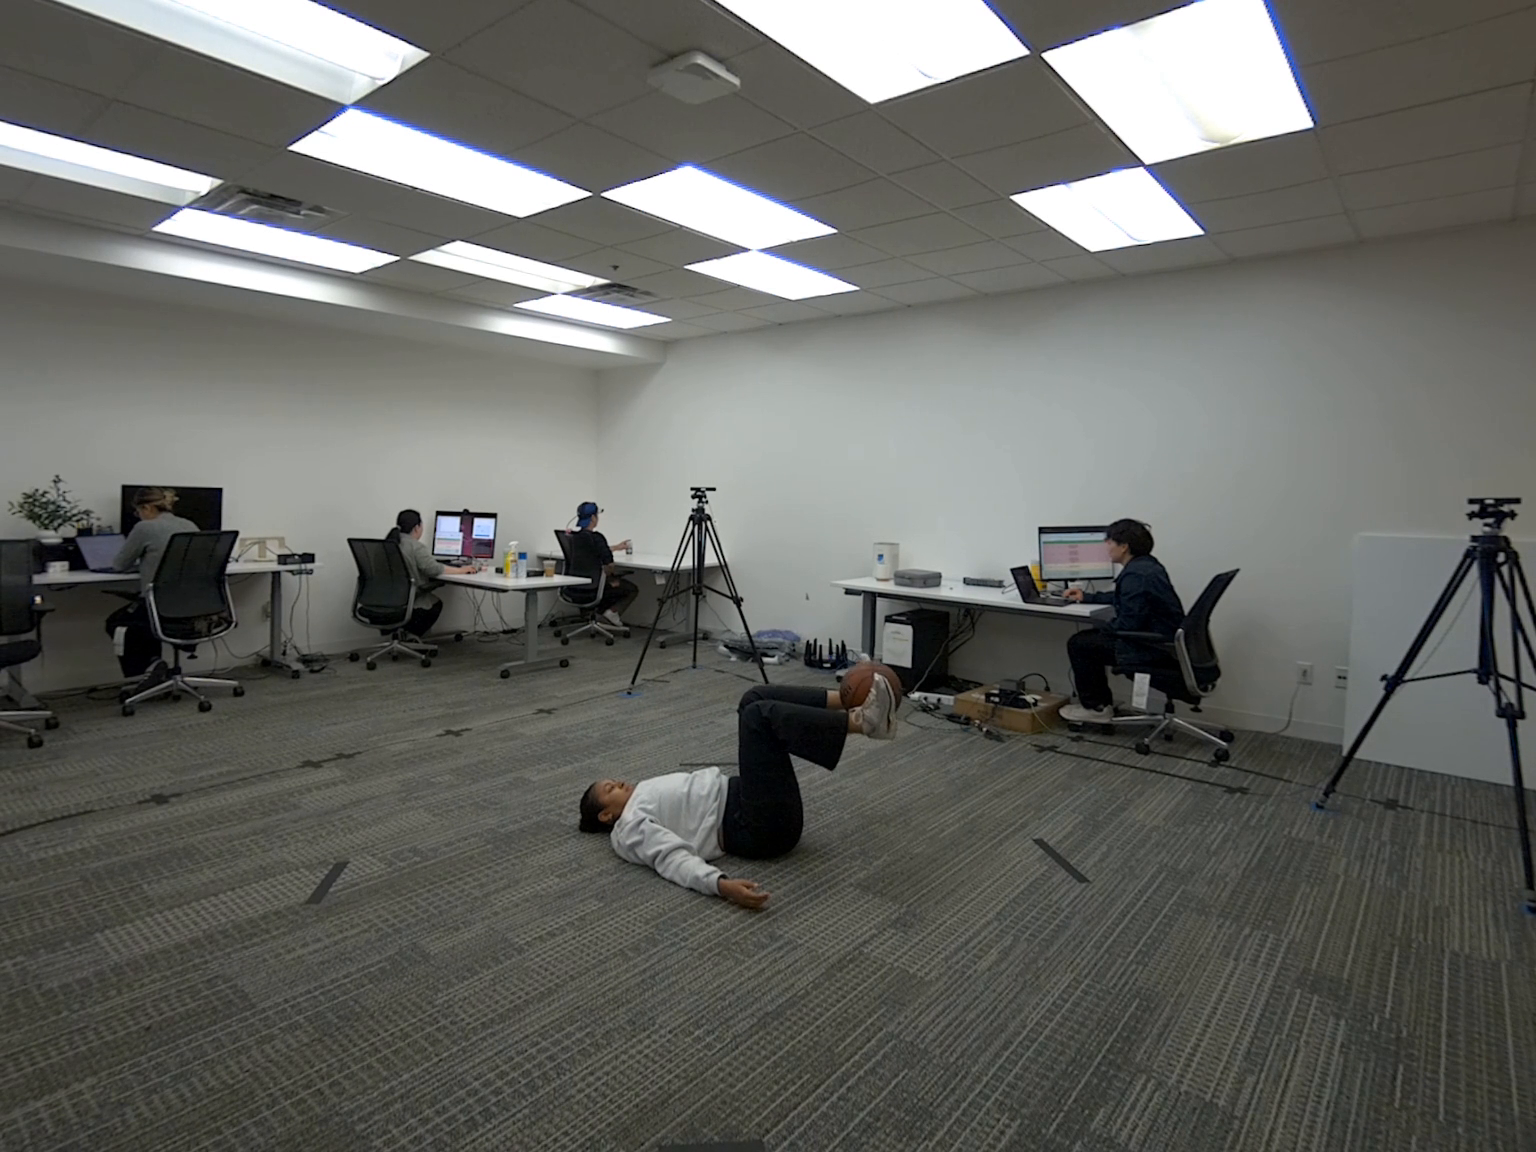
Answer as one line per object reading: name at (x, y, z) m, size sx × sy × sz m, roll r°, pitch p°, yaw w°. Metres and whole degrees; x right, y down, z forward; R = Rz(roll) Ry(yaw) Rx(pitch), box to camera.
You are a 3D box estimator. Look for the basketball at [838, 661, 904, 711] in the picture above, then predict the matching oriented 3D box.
basketball at (0.380, 0.443, 3.274) m, size 0.236 × 0.234 × 0.238 m, roll -2°, pitch 8°, yaw -2°
